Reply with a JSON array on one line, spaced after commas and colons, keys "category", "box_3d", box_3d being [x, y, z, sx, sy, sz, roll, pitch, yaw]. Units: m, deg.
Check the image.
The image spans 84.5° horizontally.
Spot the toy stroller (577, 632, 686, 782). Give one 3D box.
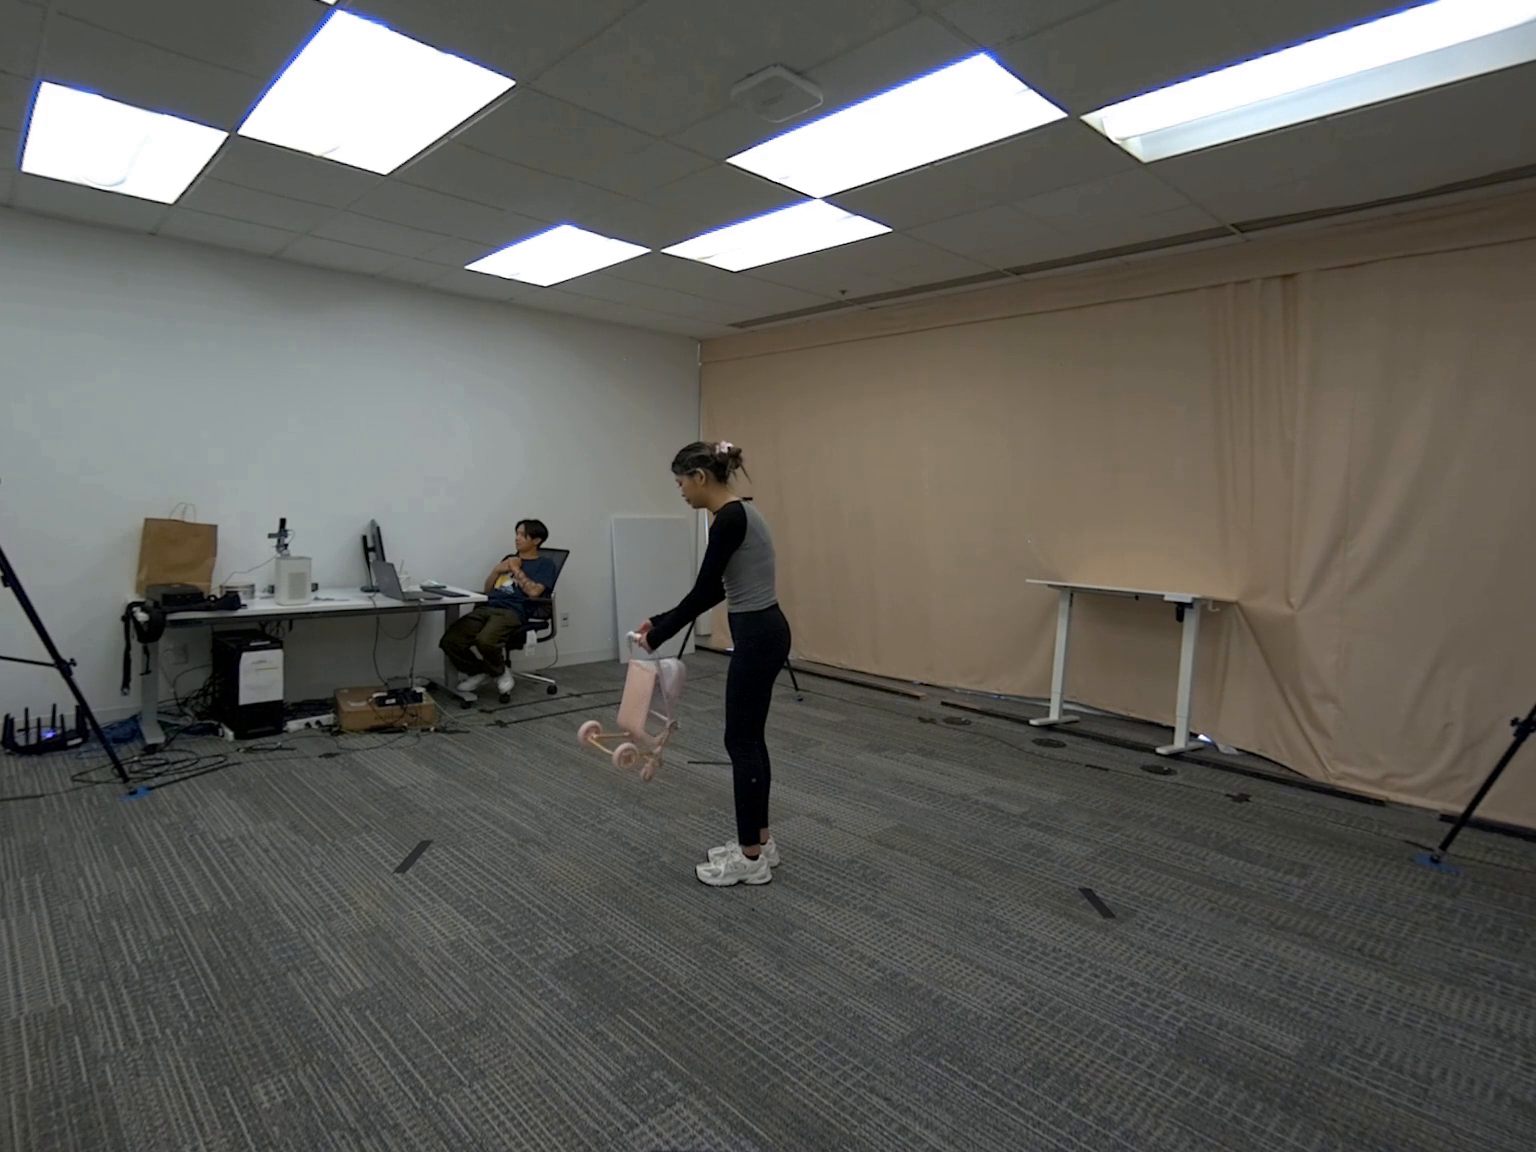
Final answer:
[{"category": "toy stroller", "box_3d": [-0.479, 0.529, 3.248, 0.331, 0.536, 0.289, 26, -7, -39]}]
